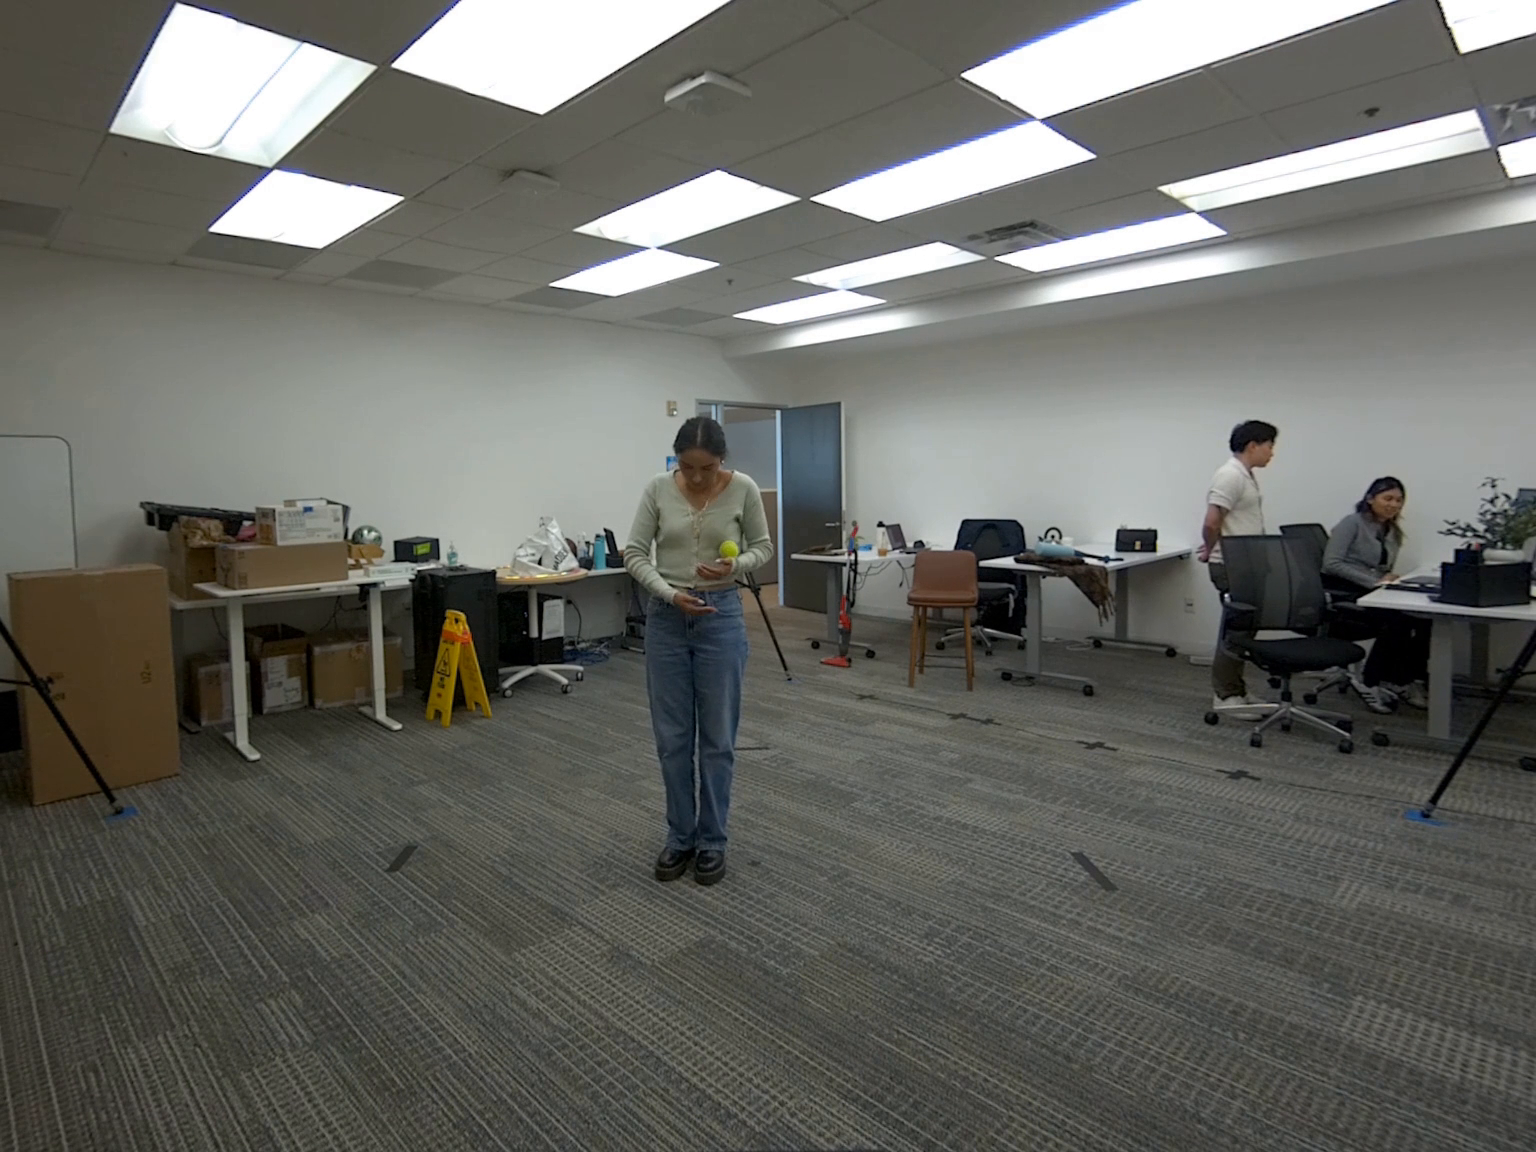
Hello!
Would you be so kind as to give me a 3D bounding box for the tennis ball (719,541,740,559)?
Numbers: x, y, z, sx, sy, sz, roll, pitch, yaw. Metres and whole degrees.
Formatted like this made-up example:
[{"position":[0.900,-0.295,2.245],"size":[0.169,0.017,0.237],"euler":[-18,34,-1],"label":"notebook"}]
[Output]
[{"position":[-0.152,-0.090,2.937],"size":[0.066,0.066,0.067],"euler":[-1,5,-2],"label":"tennis ball"}]
